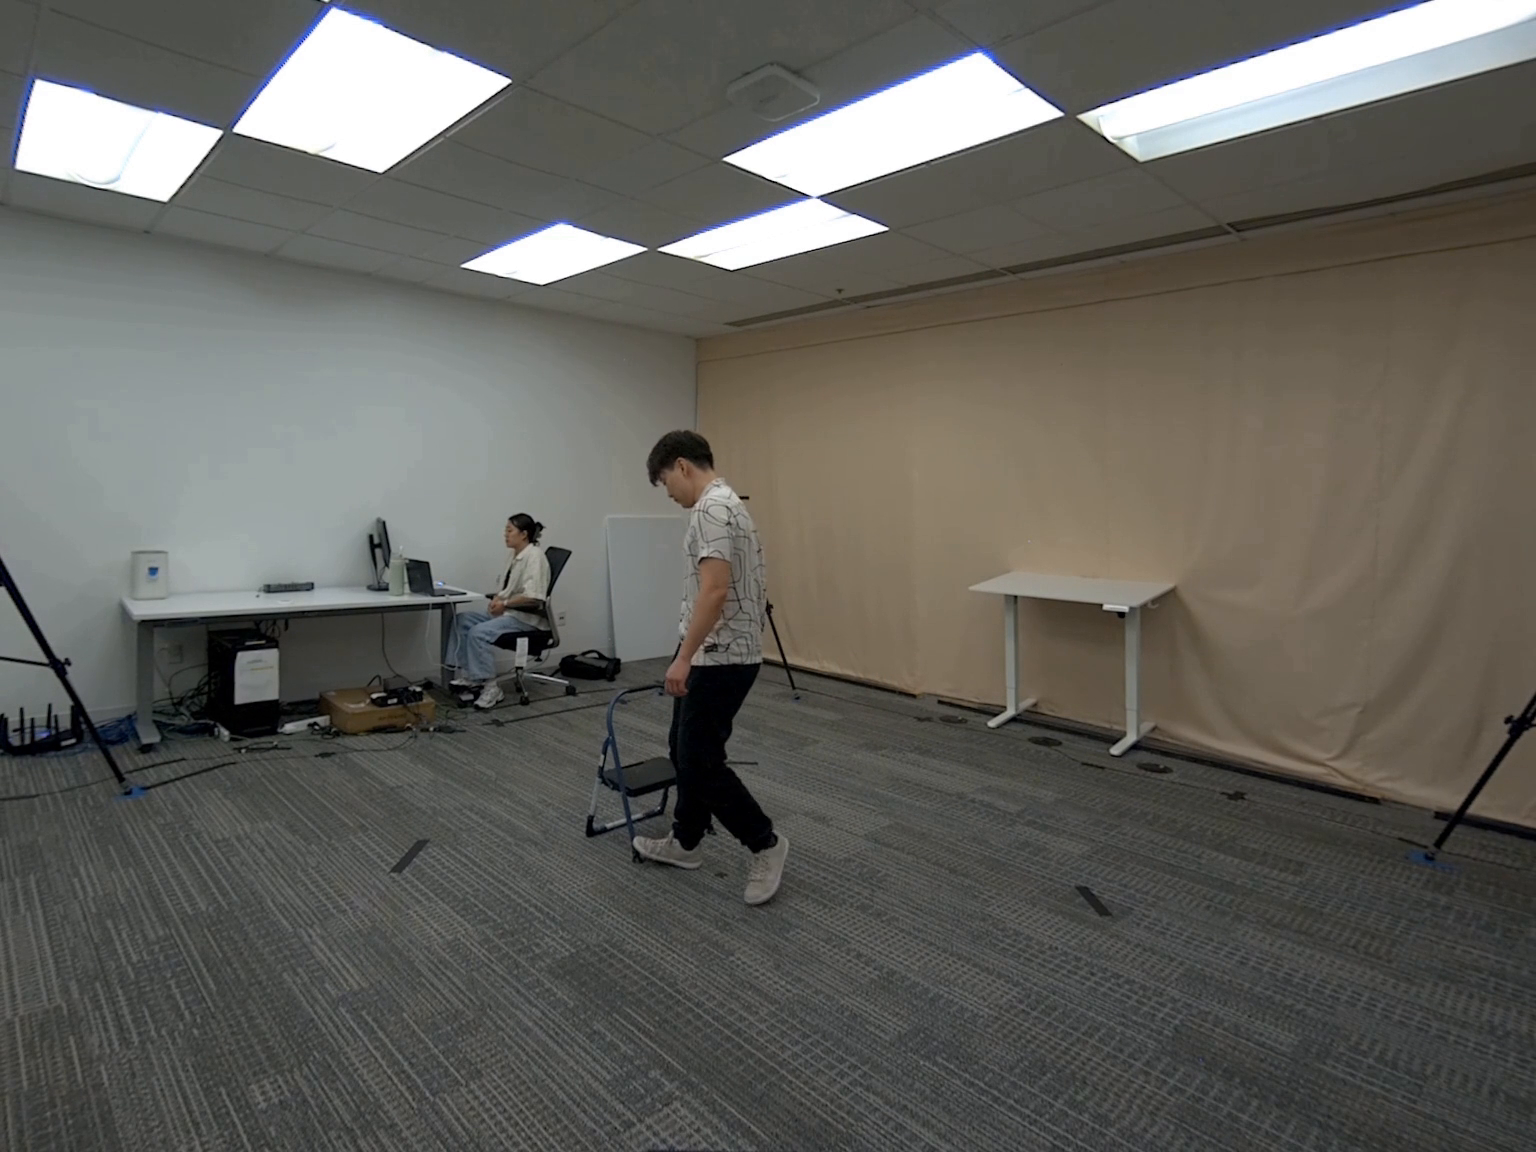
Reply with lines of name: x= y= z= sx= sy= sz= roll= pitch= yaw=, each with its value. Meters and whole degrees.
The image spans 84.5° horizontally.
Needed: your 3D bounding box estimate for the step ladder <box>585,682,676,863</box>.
step ladder: x=-0.479 y=0.762 z=3.440 sx=0.358 sy=0.604 sz=0.421 roll=5 pitch=5 yaw=42
